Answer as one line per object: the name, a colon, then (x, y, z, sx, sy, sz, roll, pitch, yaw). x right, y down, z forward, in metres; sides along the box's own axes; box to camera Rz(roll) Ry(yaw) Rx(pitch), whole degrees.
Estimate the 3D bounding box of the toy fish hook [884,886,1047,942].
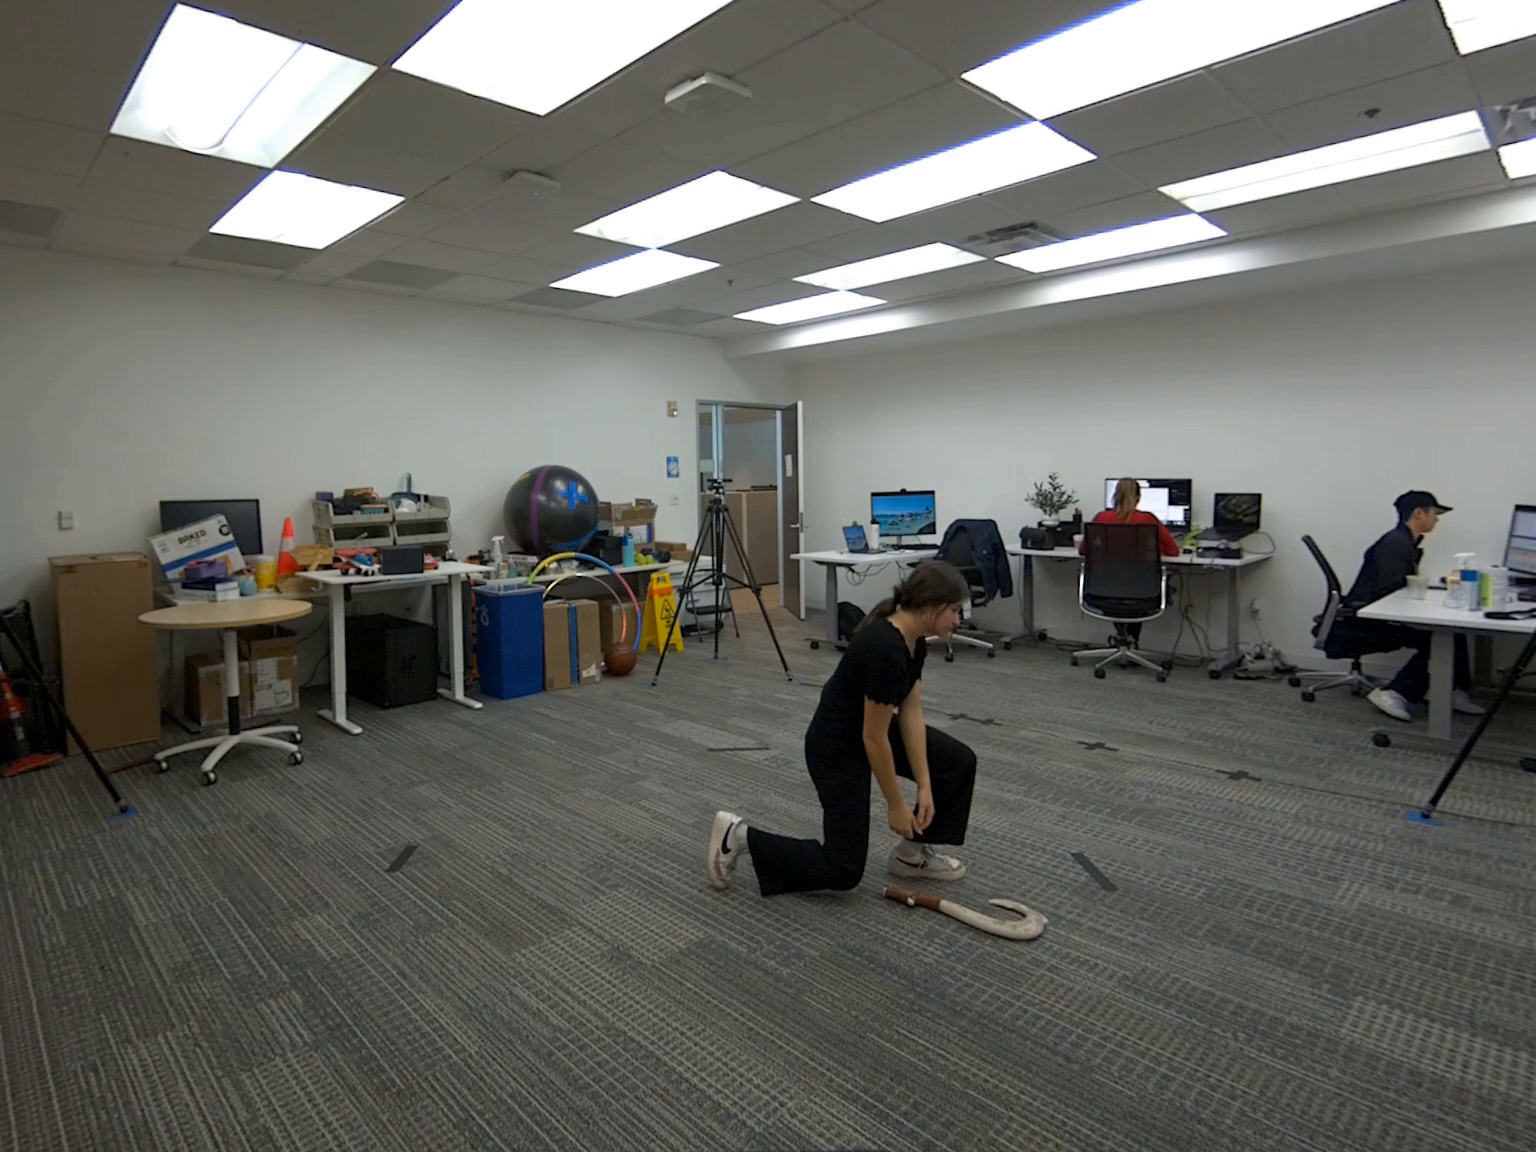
toy fish hook: (0.622, 1.059, 2.743, 0.521, 0.048, 0.218, 4, 0, 33)
